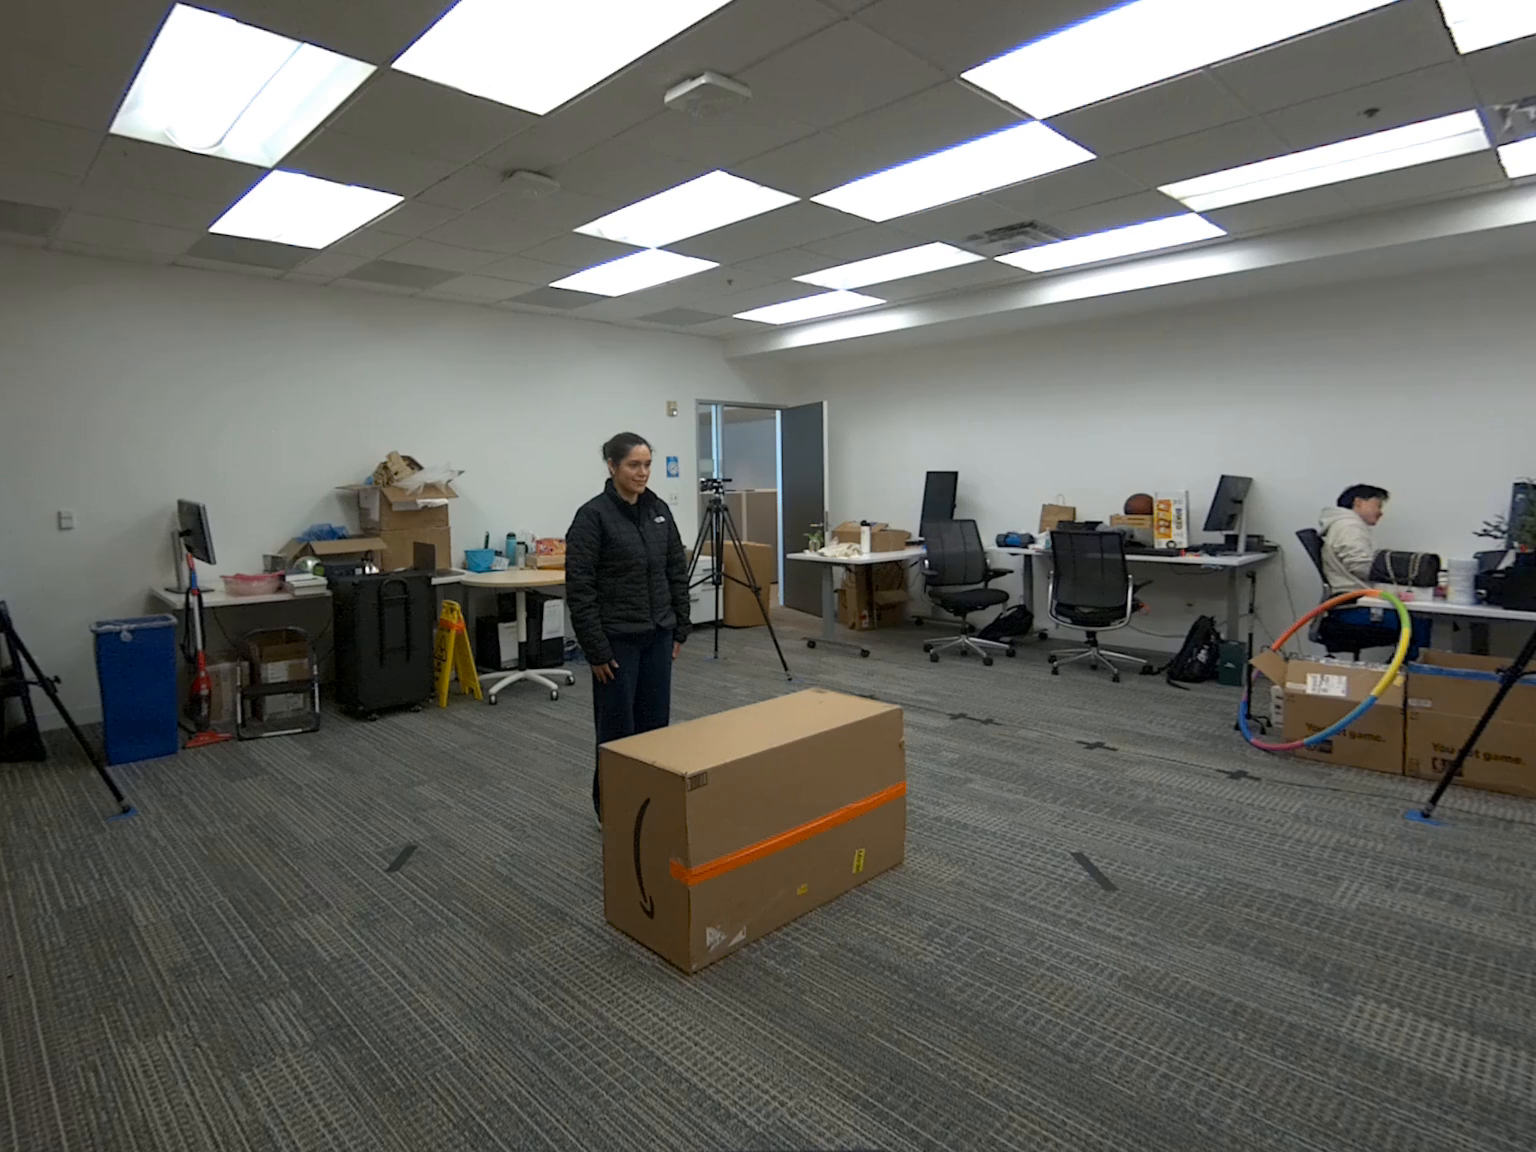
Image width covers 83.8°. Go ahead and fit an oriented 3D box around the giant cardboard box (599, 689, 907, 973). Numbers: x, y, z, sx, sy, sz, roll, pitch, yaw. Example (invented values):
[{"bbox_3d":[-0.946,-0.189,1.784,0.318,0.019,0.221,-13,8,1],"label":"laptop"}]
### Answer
[{"bbox_3d":[-0.015,0.782,2.895,1.000,0.582,0.460,-7,6,-44],"label":"giant cardboard box"}]
